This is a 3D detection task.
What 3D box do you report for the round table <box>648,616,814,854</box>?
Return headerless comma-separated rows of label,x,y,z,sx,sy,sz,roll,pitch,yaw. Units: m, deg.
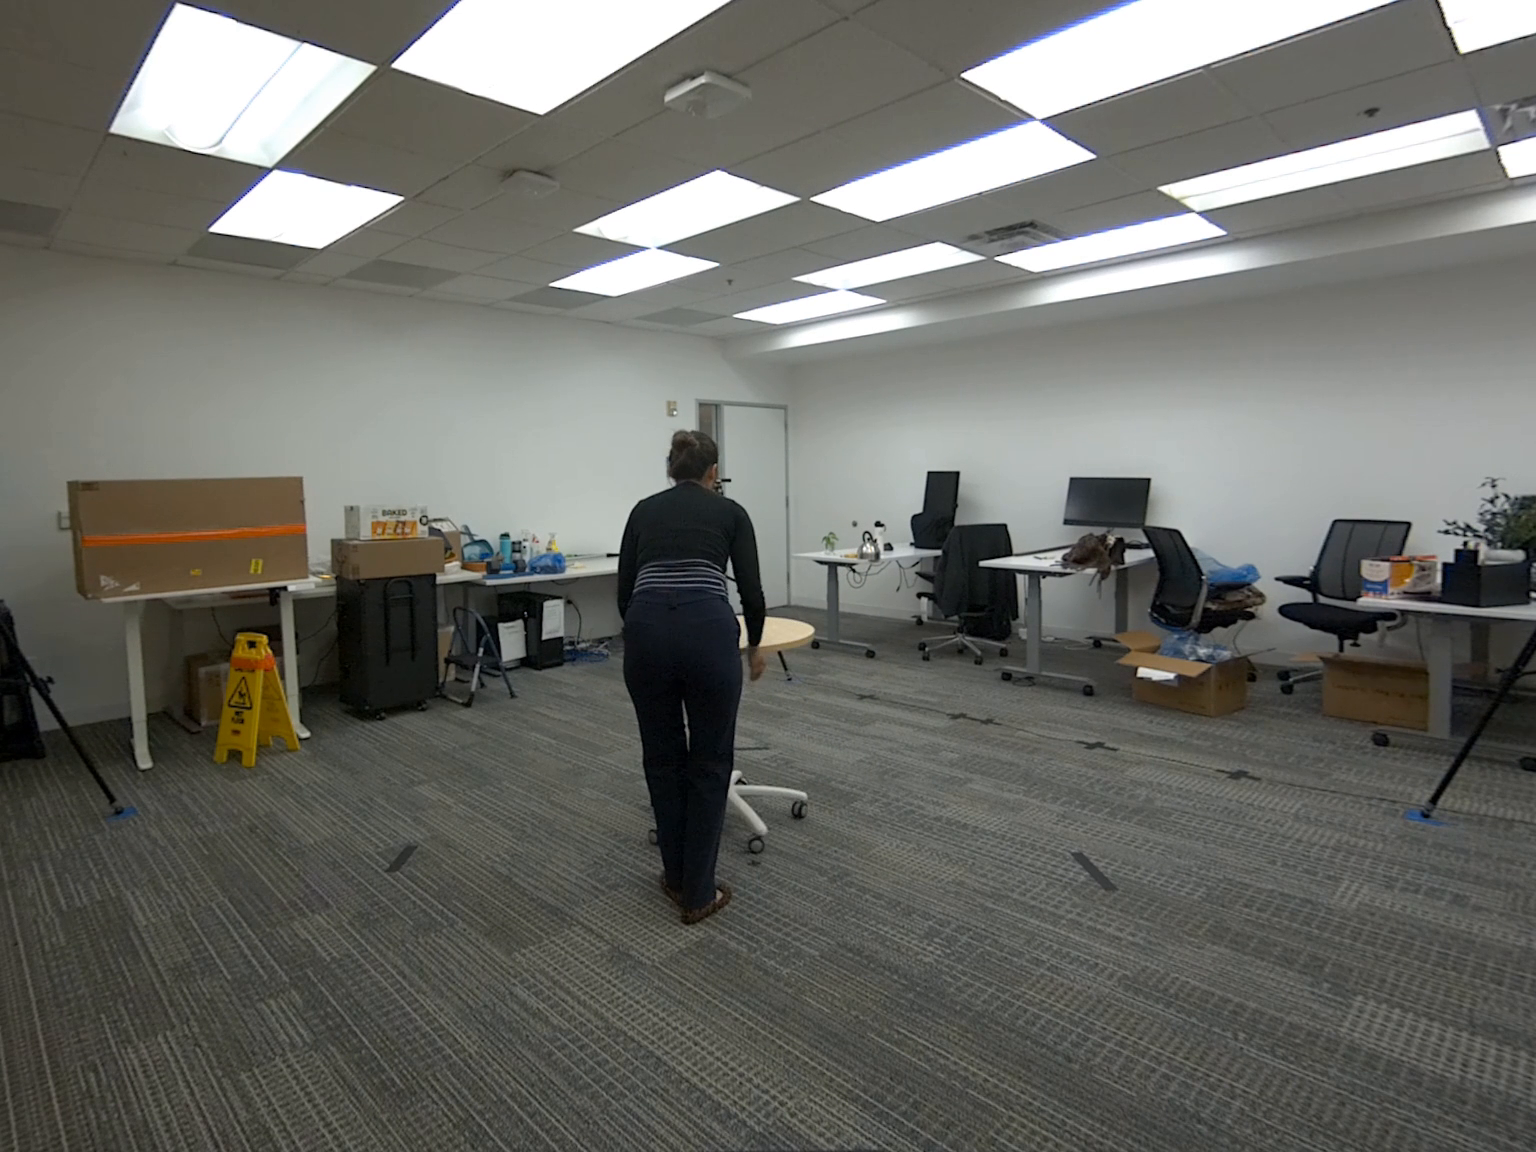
round table,-0.191,0.615,3.479,0.763,0.791,0.768,-1,4,-2
